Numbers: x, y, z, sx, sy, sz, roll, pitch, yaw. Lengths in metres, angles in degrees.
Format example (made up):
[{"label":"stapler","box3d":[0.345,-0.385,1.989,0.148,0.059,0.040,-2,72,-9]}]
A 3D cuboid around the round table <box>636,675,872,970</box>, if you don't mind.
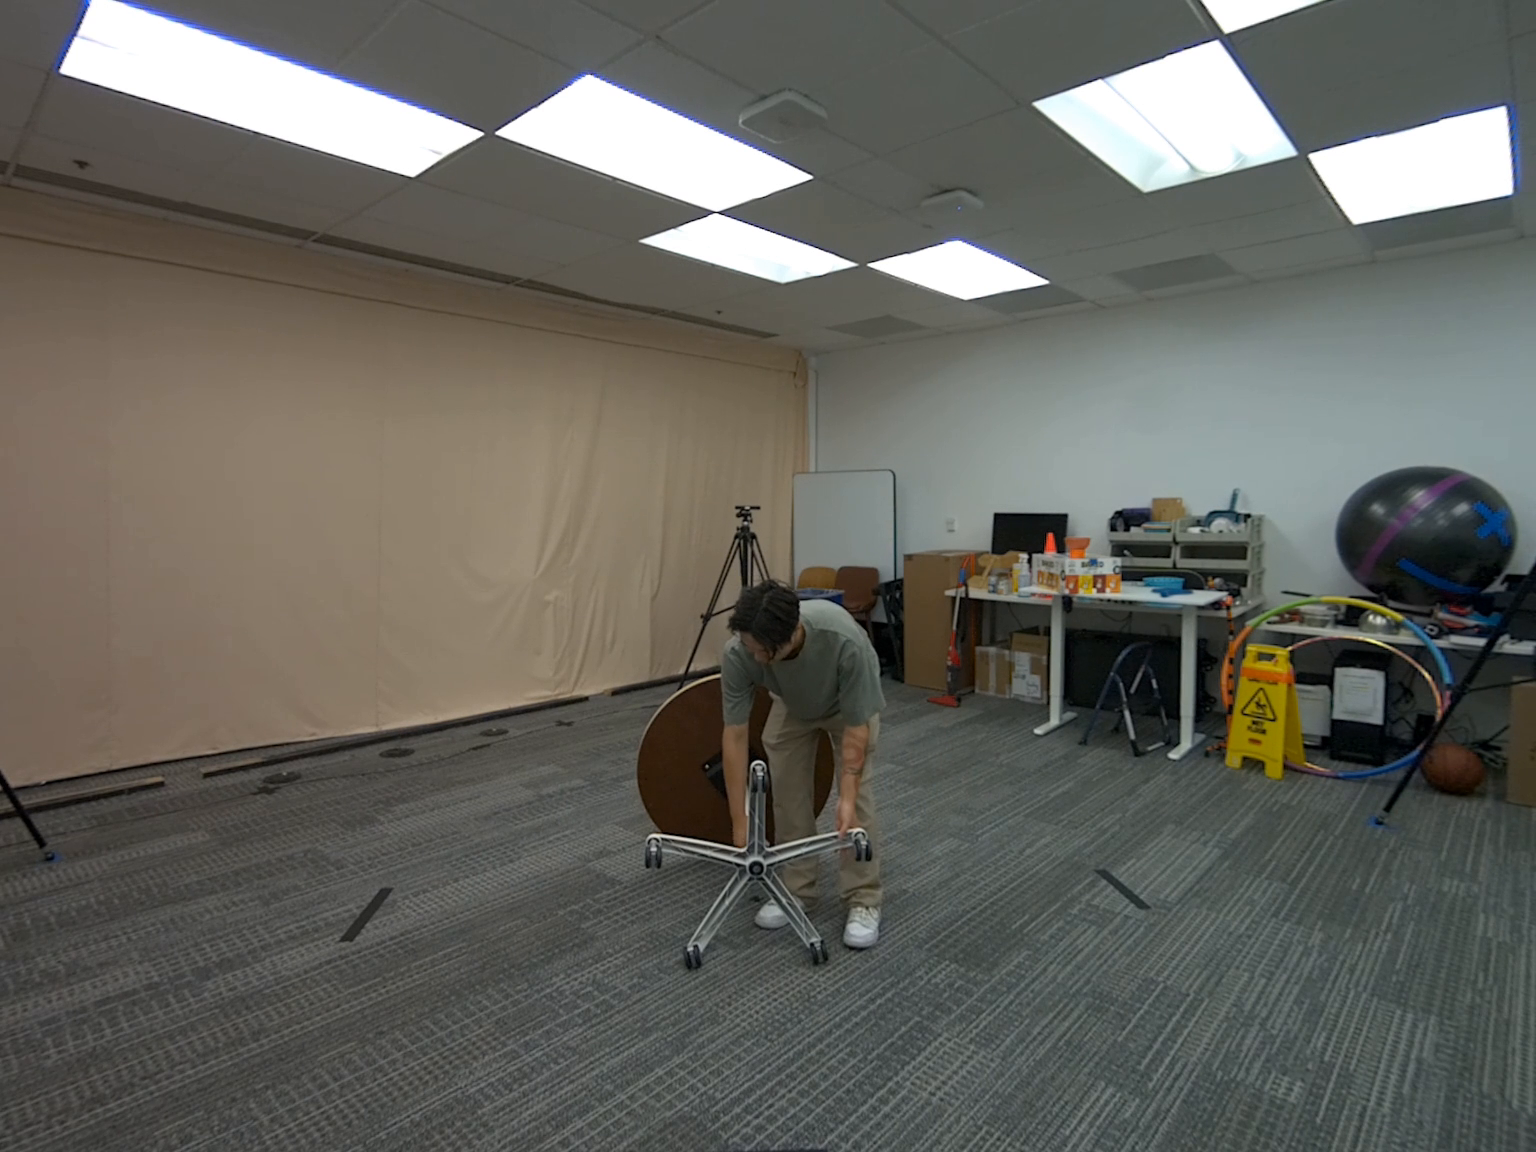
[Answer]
[{"label":"round table","box3d":[-0.078,0.815,2.864,0.781,0.780,0.796,0,11,-6]}]
